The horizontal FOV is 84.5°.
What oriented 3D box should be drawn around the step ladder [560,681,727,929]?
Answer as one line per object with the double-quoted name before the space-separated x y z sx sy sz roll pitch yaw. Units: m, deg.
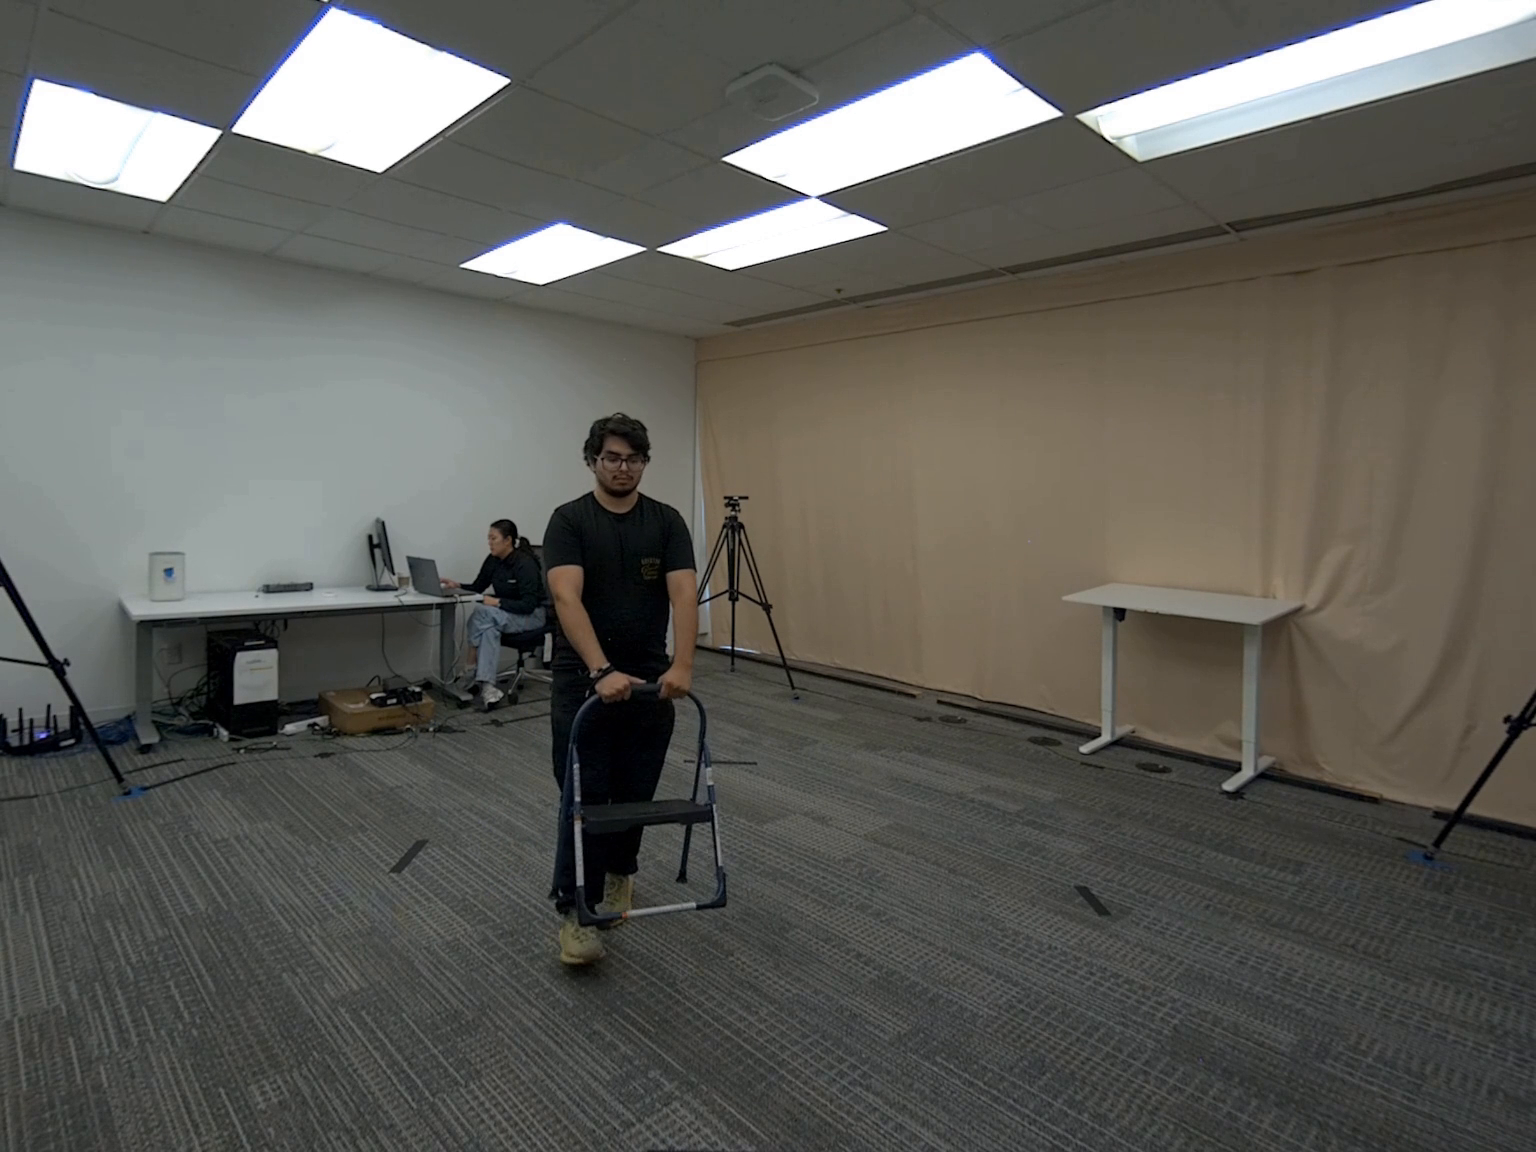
"step ladder" -0.380 0.626 2.404 0.422 0.610 0.354 3 -9 -26
